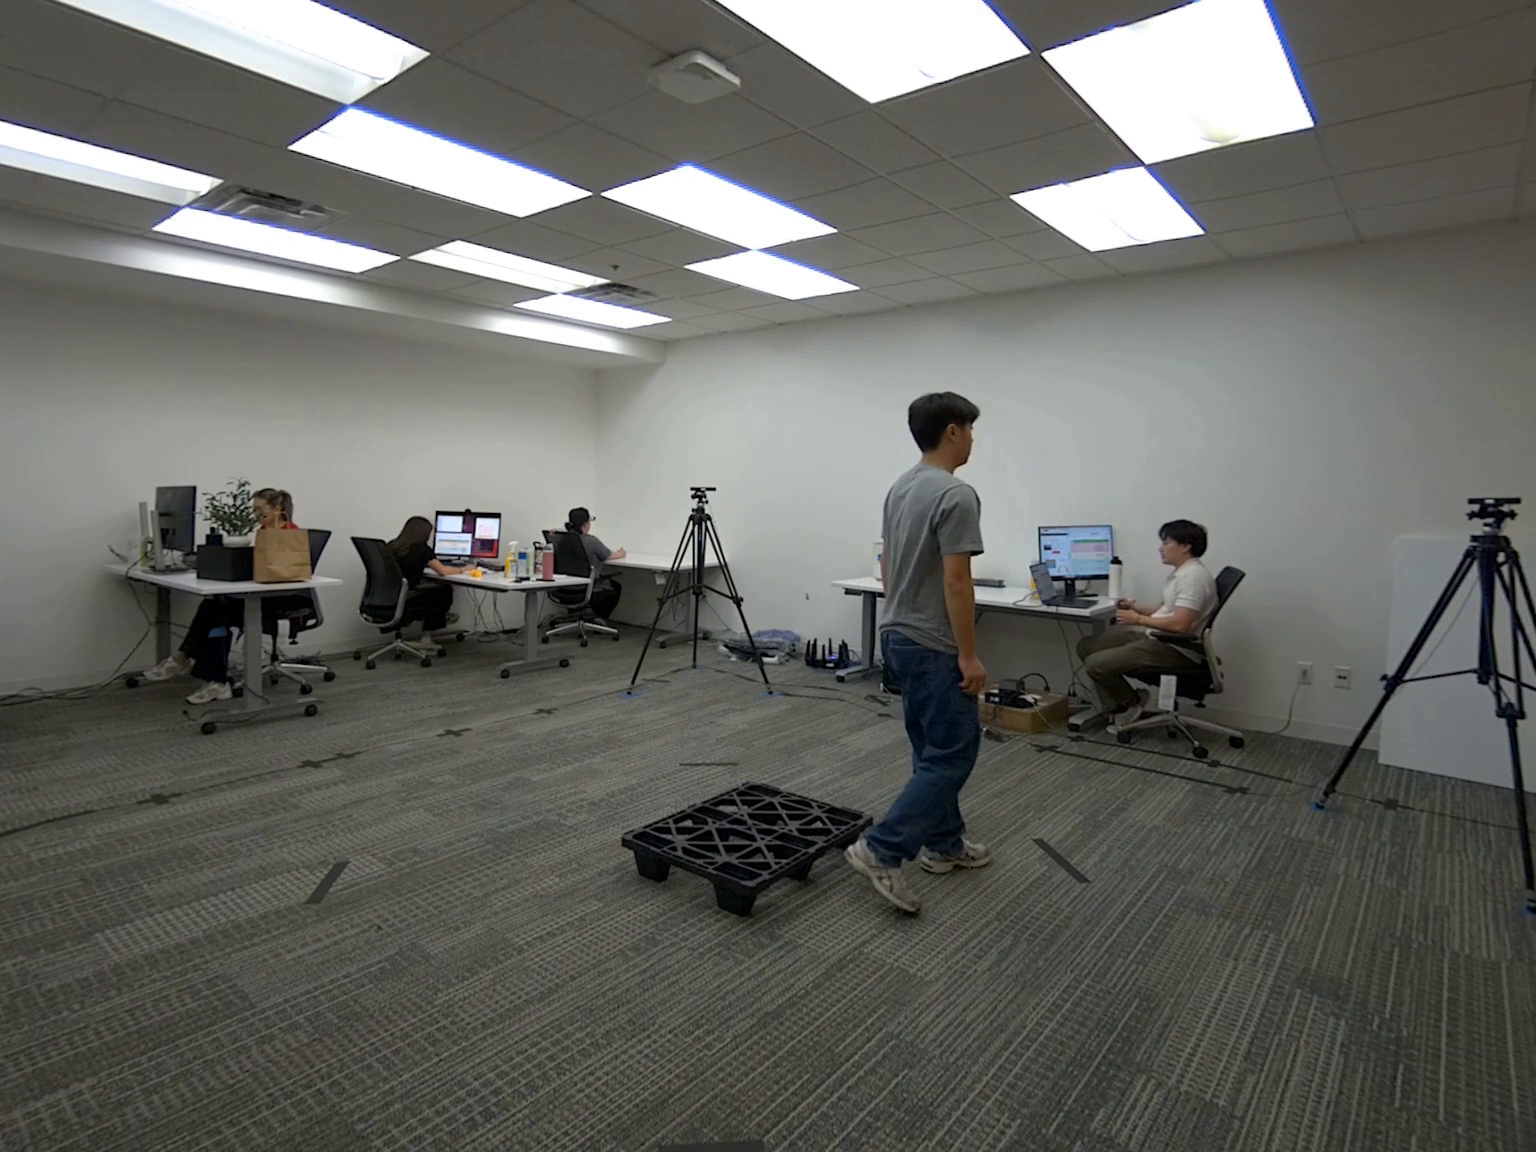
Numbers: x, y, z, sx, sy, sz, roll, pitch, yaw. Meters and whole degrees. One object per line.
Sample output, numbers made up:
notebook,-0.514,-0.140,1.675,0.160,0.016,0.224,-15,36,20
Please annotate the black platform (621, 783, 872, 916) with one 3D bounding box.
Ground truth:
black platform,-0.065,0.995,3.181,0.625,0.143,0.782,6,7,37
